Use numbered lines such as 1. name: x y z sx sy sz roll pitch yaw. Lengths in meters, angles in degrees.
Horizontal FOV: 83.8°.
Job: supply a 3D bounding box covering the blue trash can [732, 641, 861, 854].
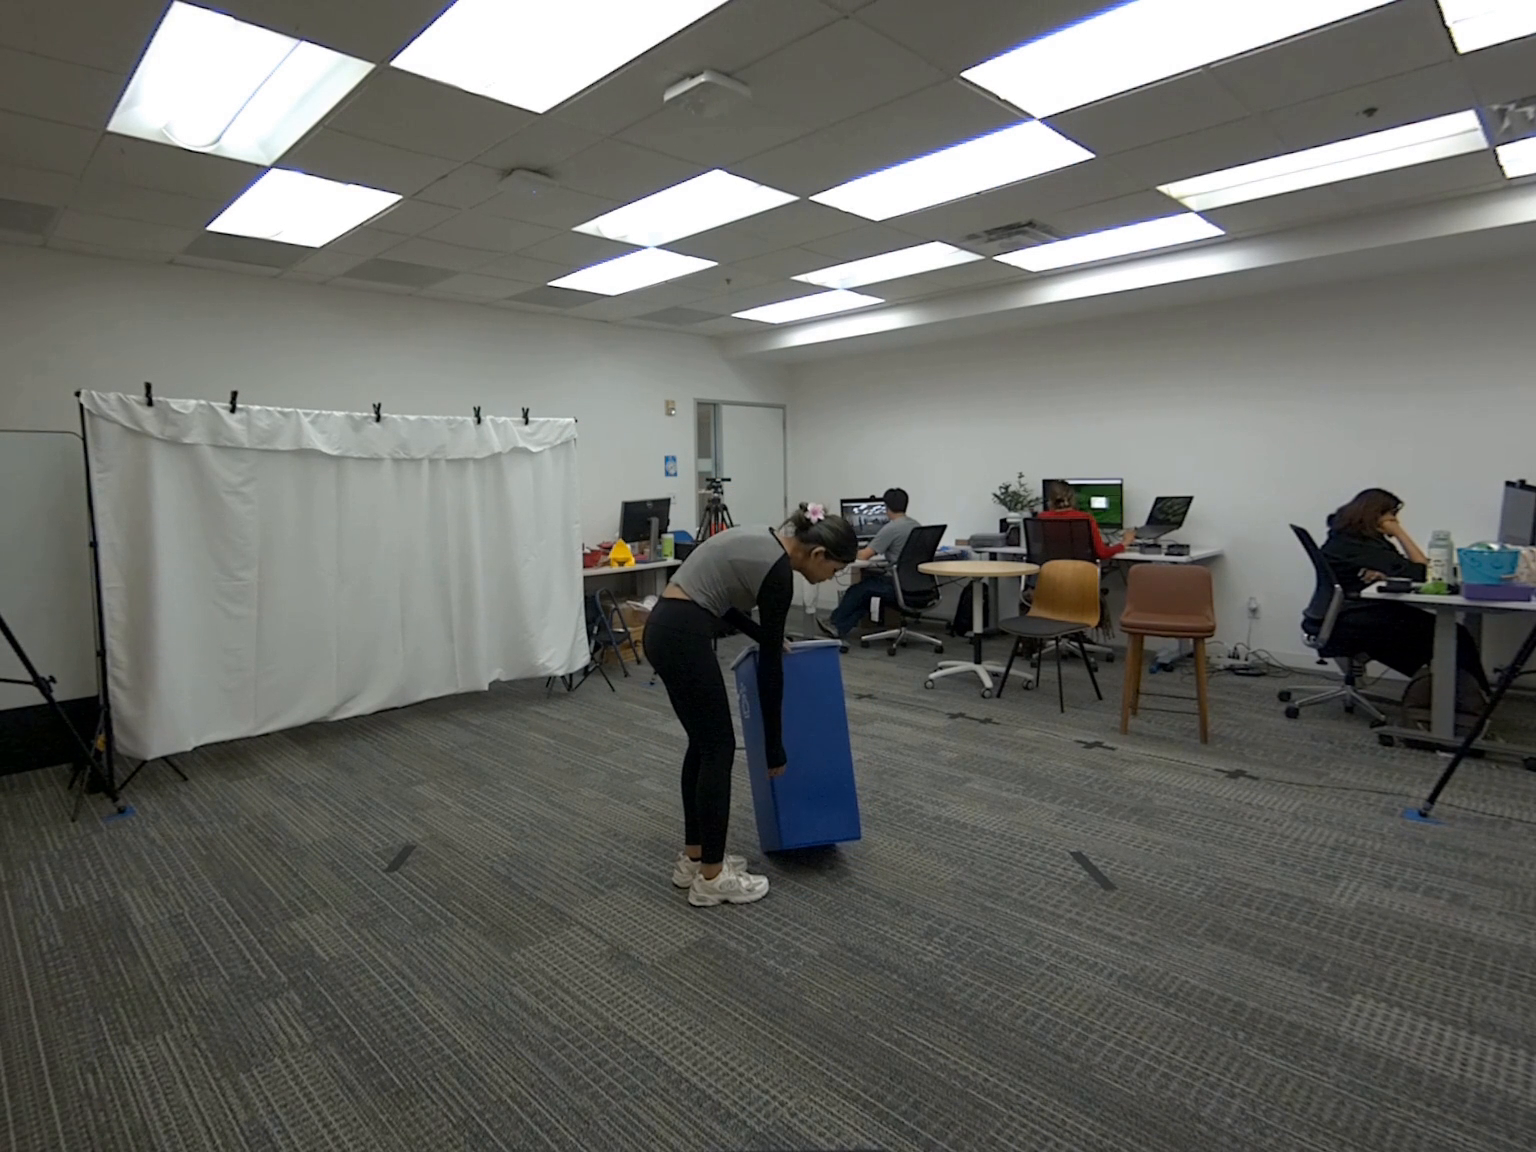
1. blue trash can: 0.116 0.636 3.211 0.373 0.727 0.372 -2 -20 -15
